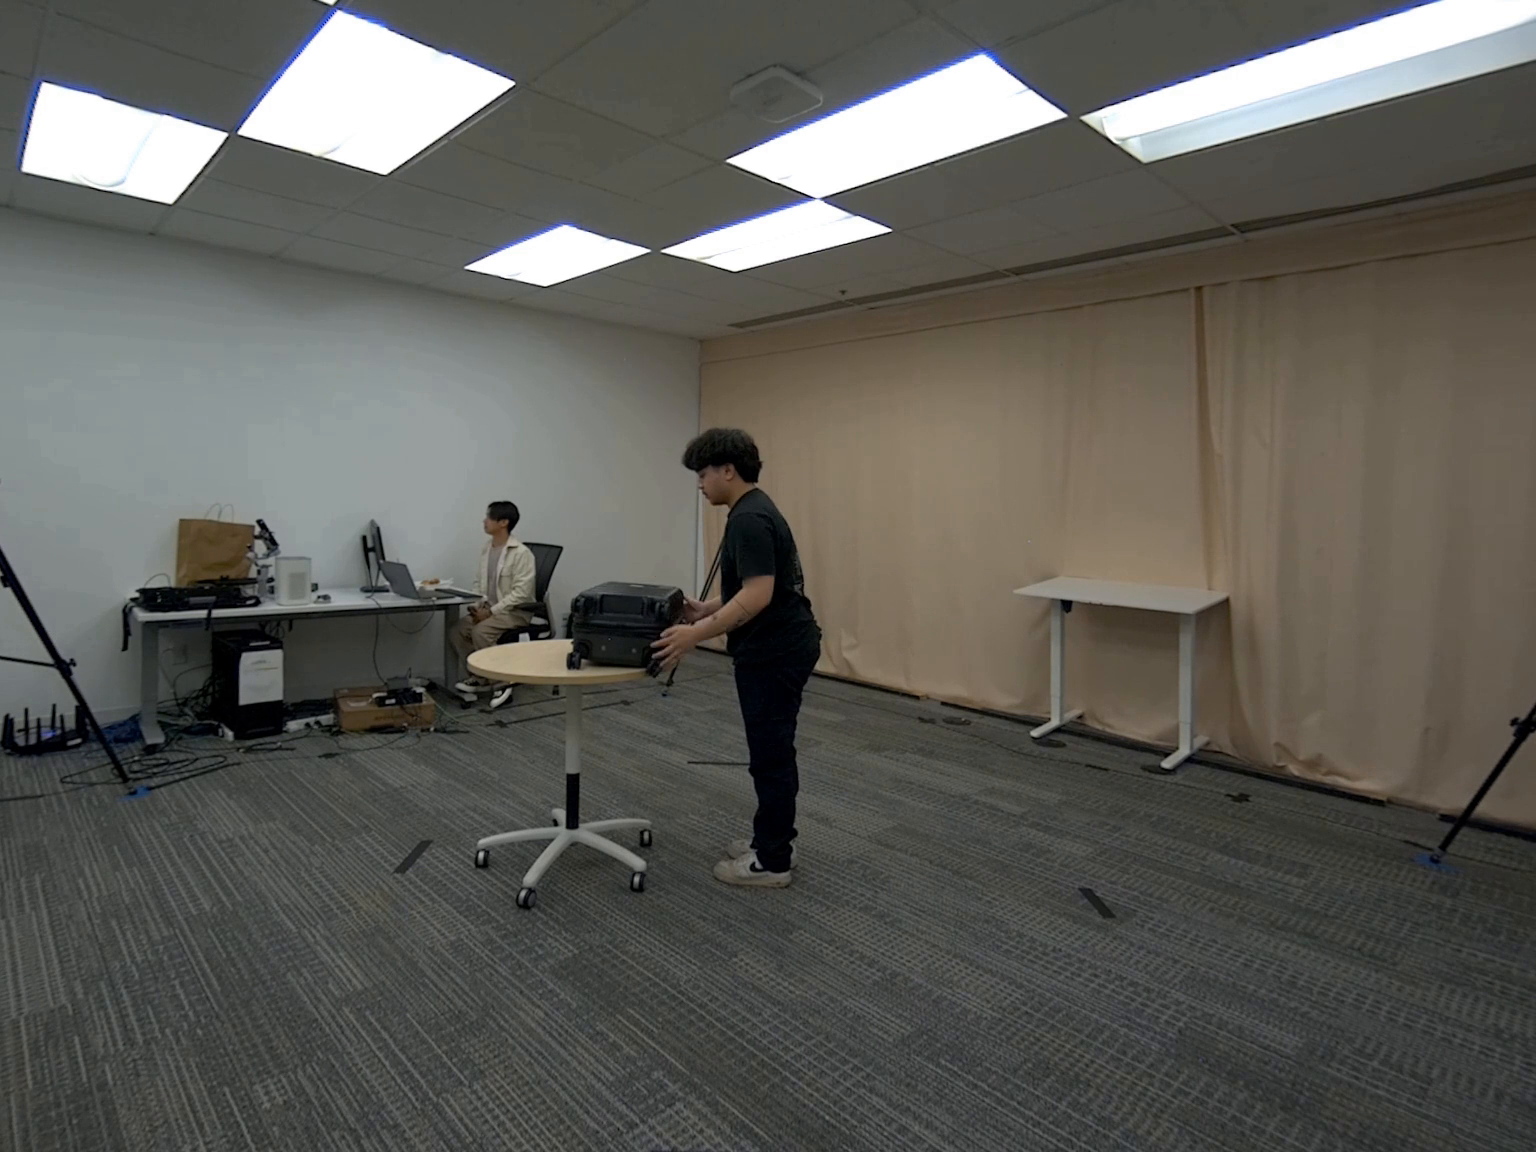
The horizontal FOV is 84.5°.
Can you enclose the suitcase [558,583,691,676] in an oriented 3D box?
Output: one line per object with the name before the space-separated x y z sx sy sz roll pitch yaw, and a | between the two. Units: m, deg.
suitcase | -0.512 0.180 3.127 0.376 0.248 0.549 3 3 2
